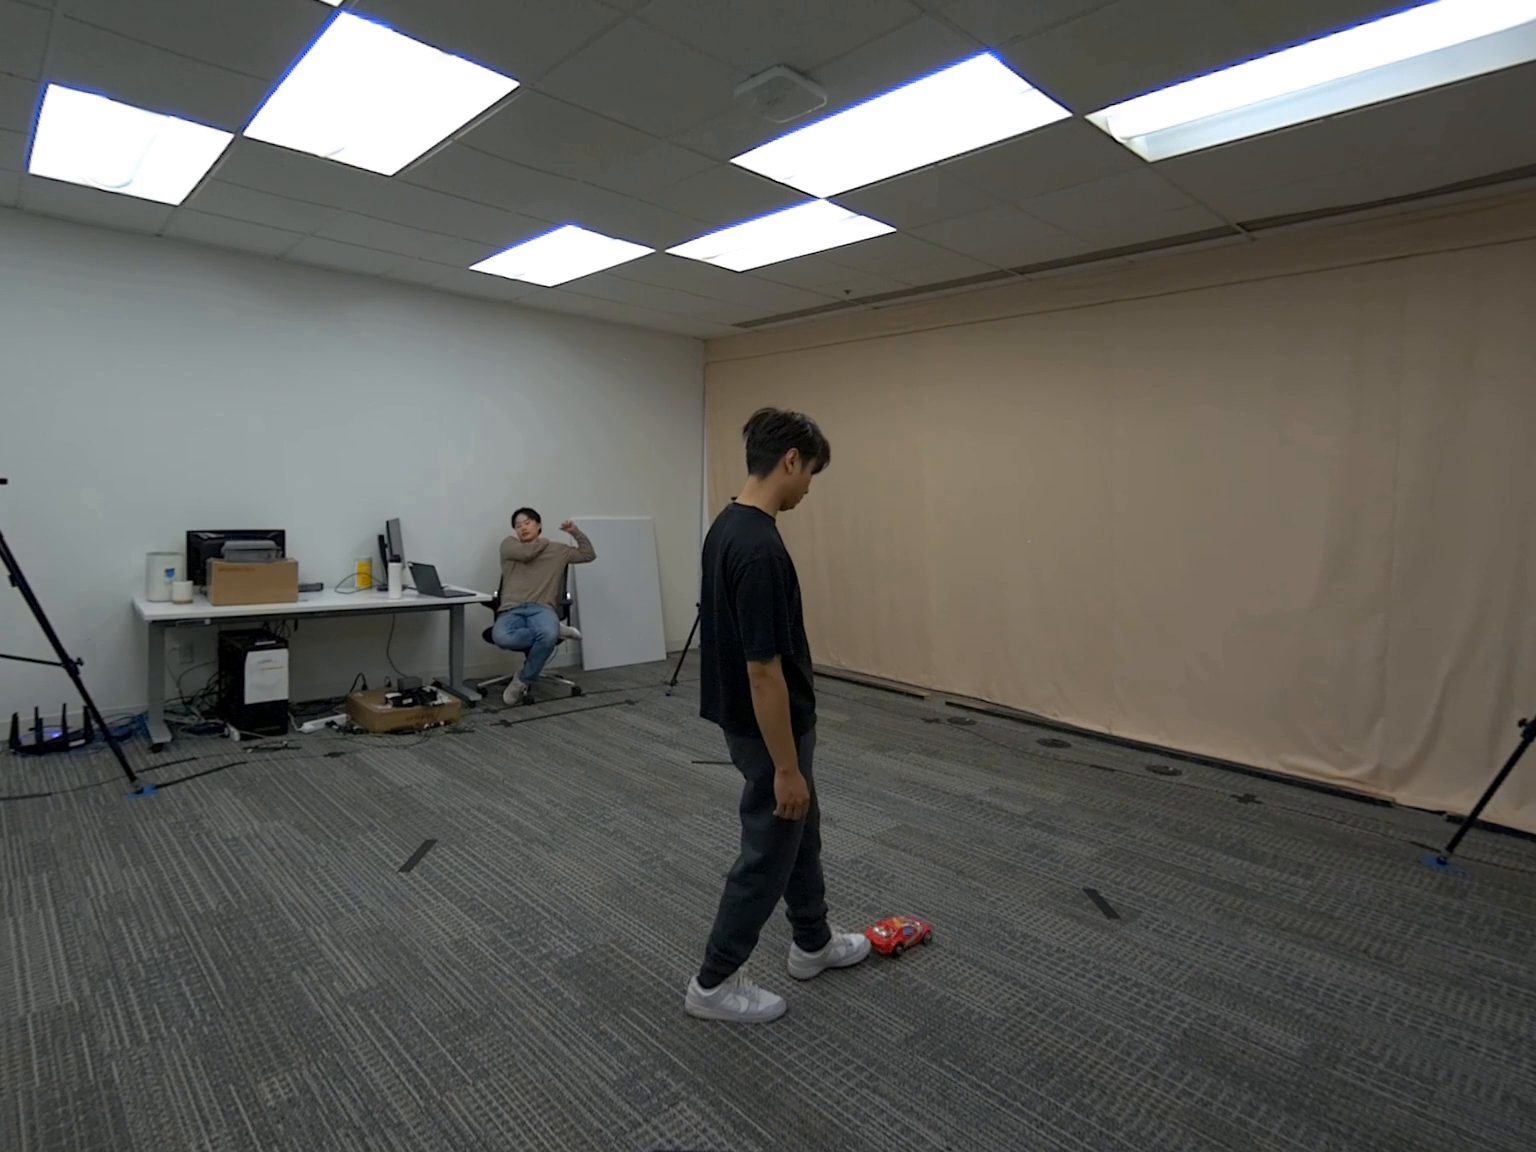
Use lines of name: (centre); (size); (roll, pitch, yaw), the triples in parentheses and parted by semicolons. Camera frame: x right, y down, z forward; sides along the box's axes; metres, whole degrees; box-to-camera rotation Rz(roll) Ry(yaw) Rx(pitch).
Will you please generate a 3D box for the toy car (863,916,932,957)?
toy car: (0.390, 1.124, 2.637); (0.247, 0.083, 0.134); (15, -4, -39)
